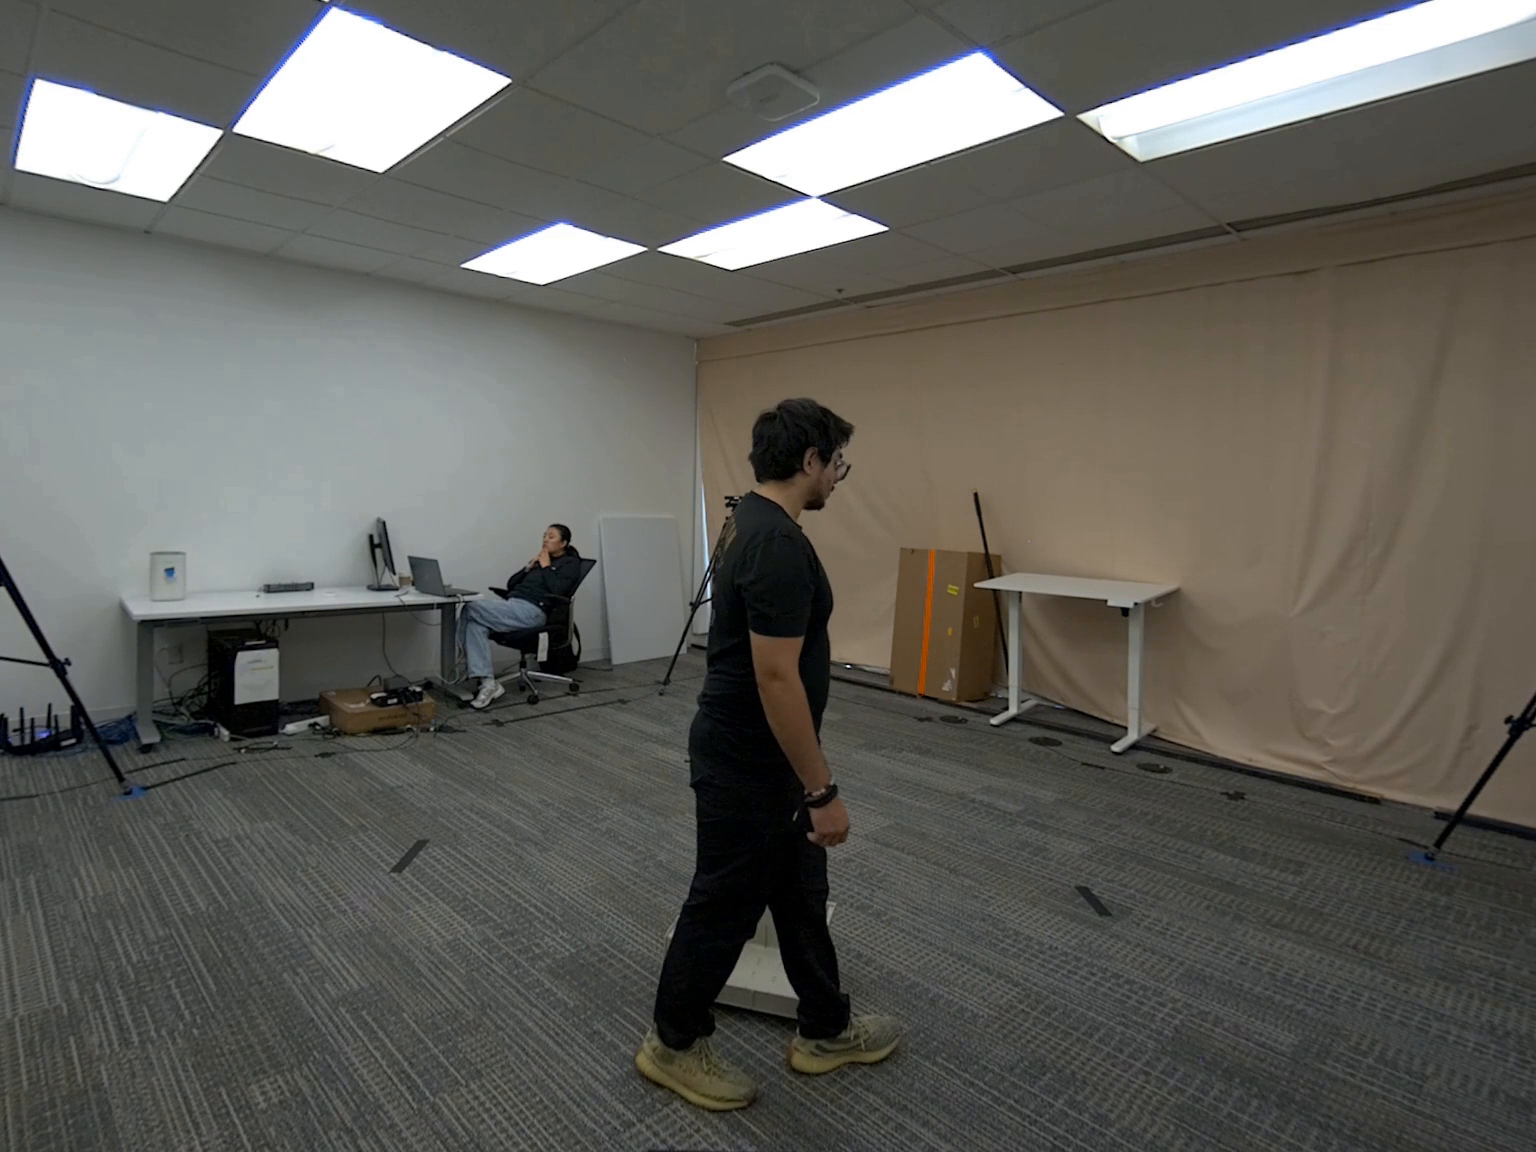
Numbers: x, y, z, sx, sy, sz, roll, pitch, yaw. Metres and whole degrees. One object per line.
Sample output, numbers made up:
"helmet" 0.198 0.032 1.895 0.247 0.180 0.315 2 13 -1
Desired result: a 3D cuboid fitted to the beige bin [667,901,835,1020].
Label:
"beige bin" -0.047 1.088 2.413 0.428 0.188 0.373 2 4 15
